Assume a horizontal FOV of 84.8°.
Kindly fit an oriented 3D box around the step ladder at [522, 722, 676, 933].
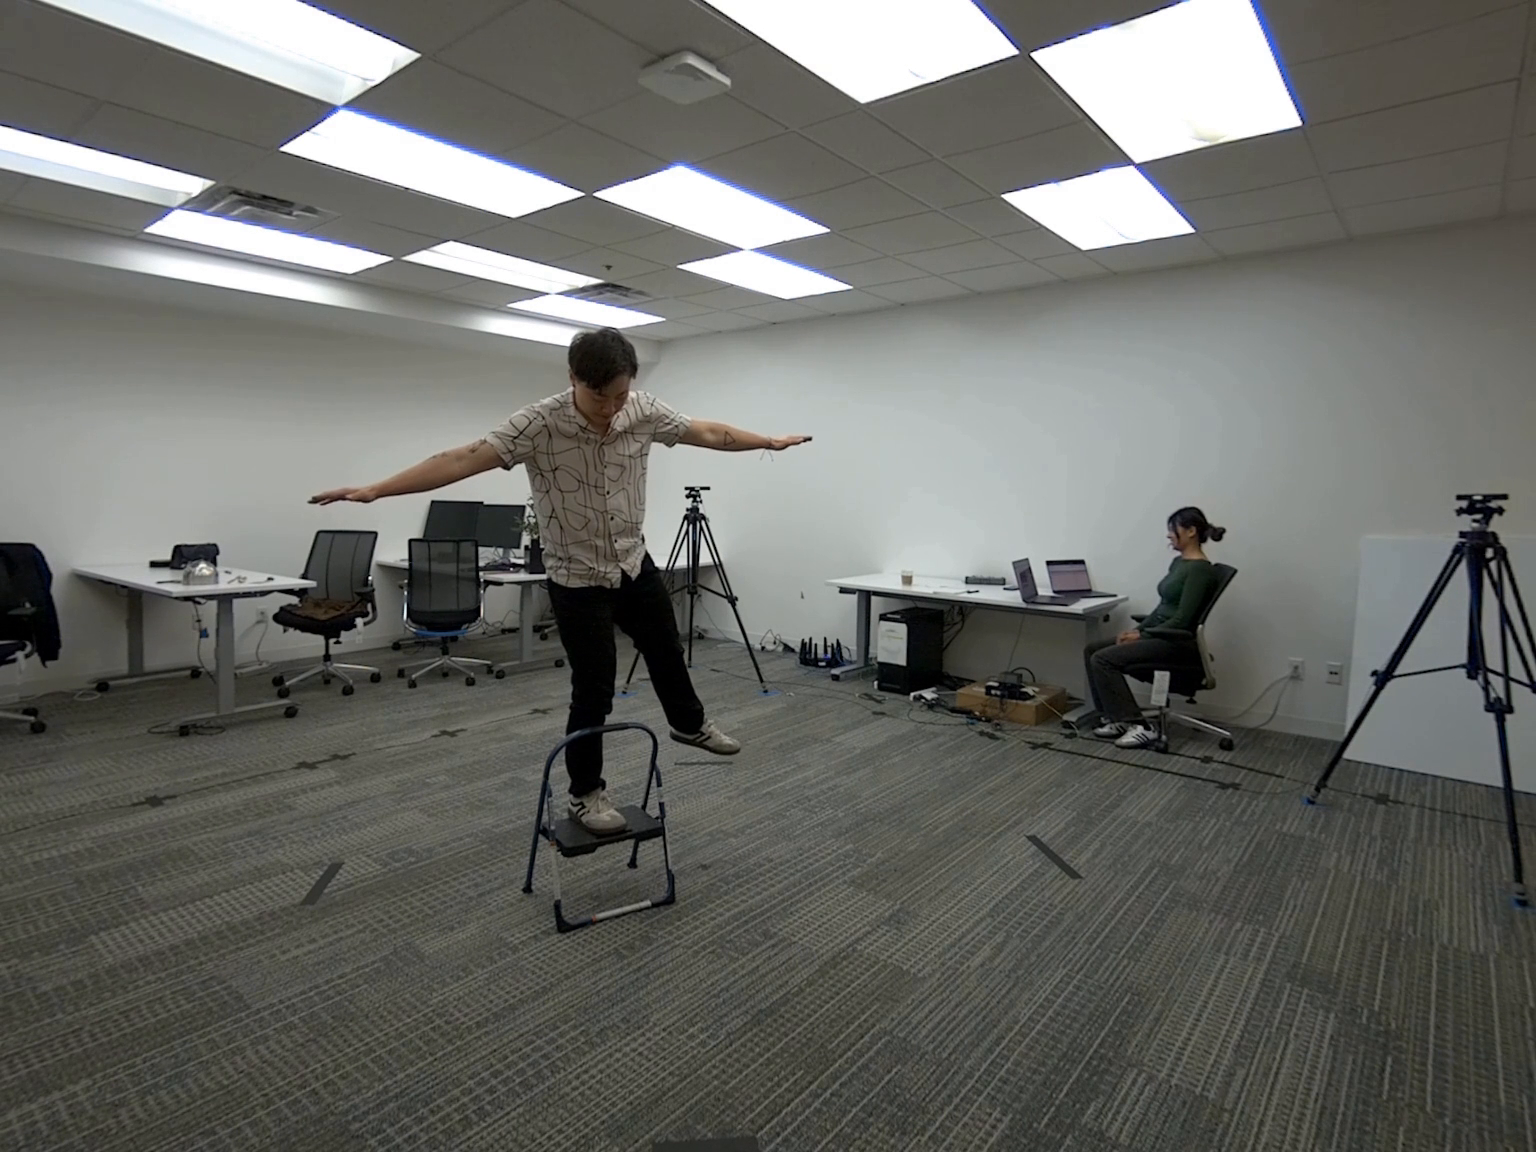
[{"bbox_3d":[-0.580,0.781,2.869,0.418,0.604,0.360,-2,4,-34],"label":"step ladder"}]
